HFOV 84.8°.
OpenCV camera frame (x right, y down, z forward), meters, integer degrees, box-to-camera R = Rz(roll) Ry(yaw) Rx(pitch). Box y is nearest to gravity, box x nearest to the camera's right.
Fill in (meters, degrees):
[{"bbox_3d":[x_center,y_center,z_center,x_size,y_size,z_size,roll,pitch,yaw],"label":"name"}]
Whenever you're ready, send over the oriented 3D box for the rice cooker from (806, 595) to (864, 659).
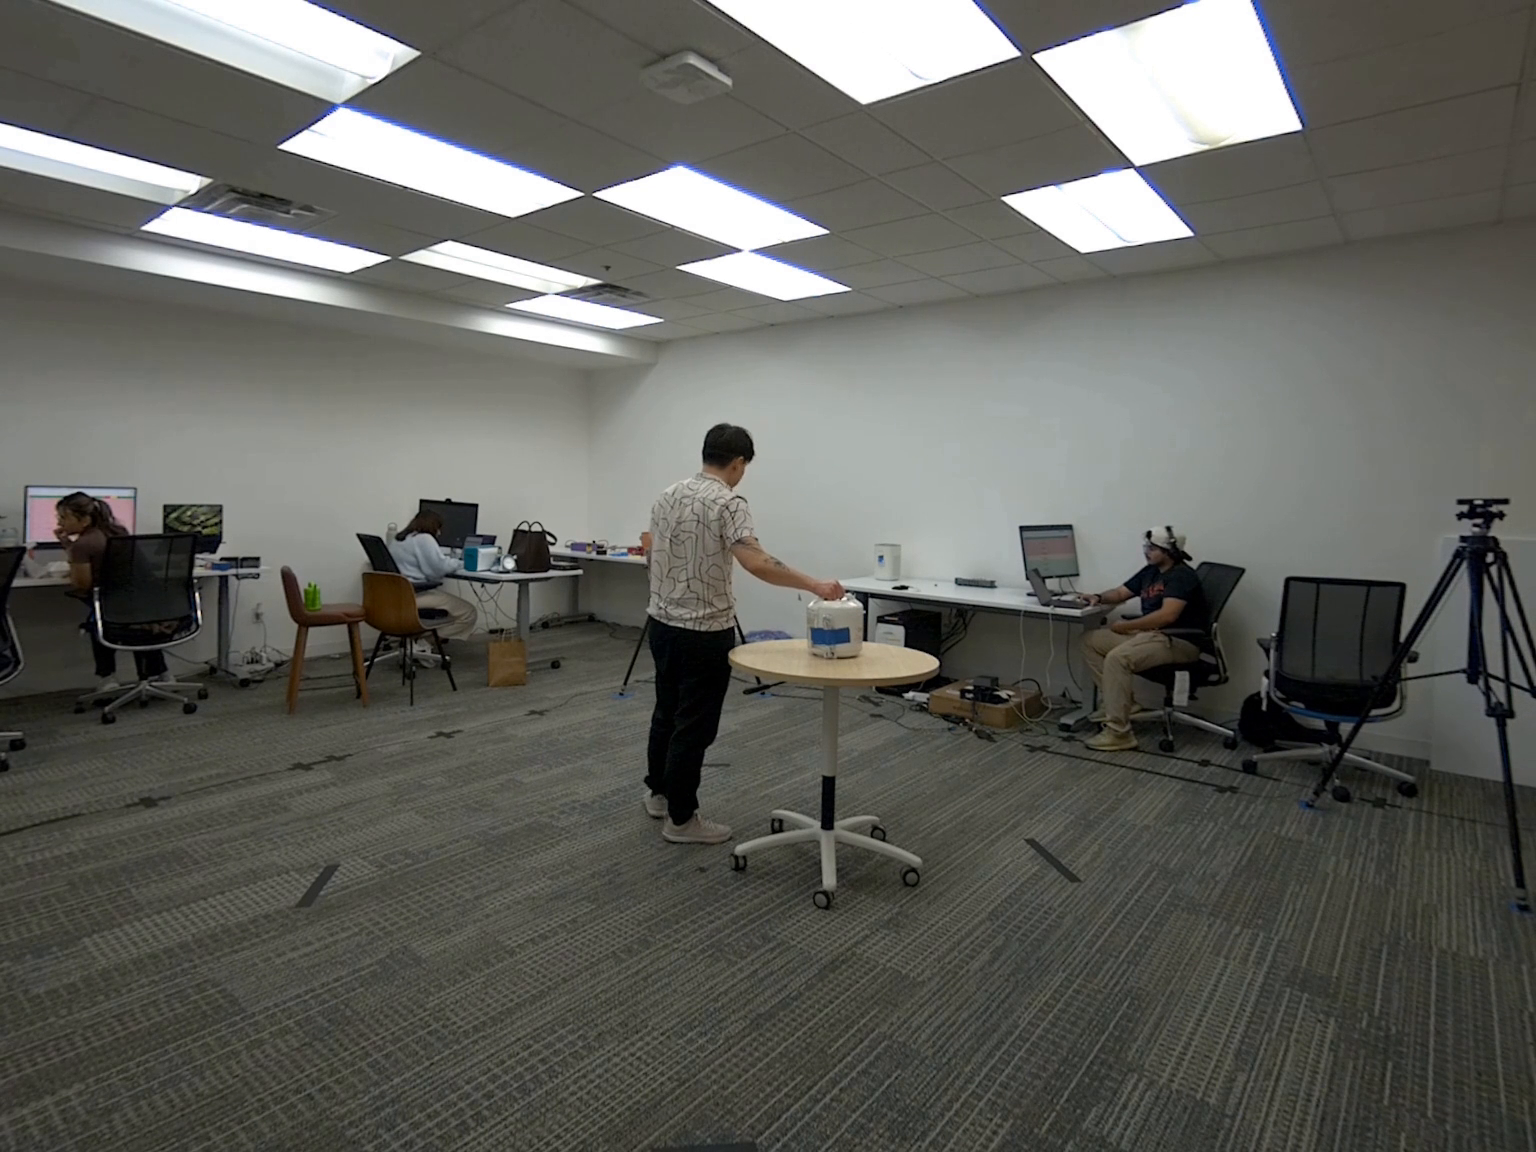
[{"bbox_3d":[0.240,0.172,3.170,0.215,0.232,0.223,0,4,-25],"label":"rice cooker"}]
